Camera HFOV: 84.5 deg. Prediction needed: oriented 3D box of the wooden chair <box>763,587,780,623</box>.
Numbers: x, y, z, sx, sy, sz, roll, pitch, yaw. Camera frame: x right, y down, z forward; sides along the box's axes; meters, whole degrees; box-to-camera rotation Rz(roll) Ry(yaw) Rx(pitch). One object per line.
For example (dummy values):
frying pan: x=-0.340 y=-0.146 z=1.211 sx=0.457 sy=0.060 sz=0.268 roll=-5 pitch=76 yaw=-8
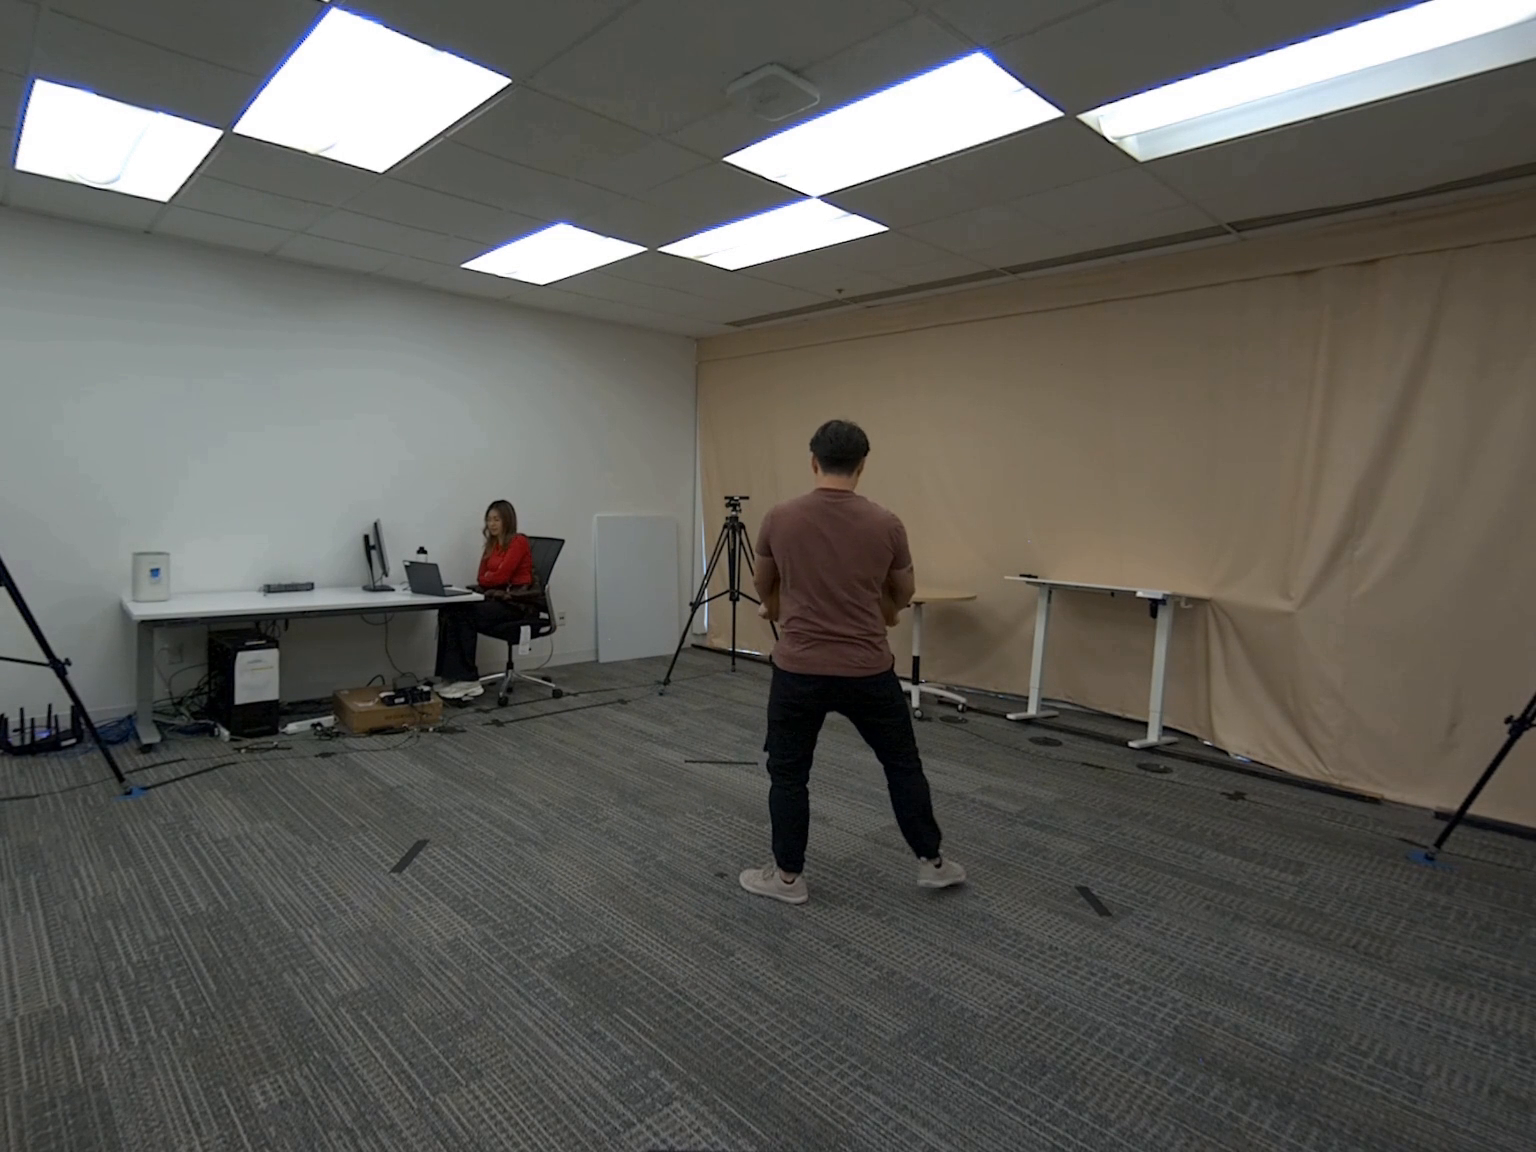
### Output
wooden chair: x=0.234 y=0.214 z=3.265 sx=0.480 sy=0.870 sz=0.526 roll=2 pitch=11 yaw=3
